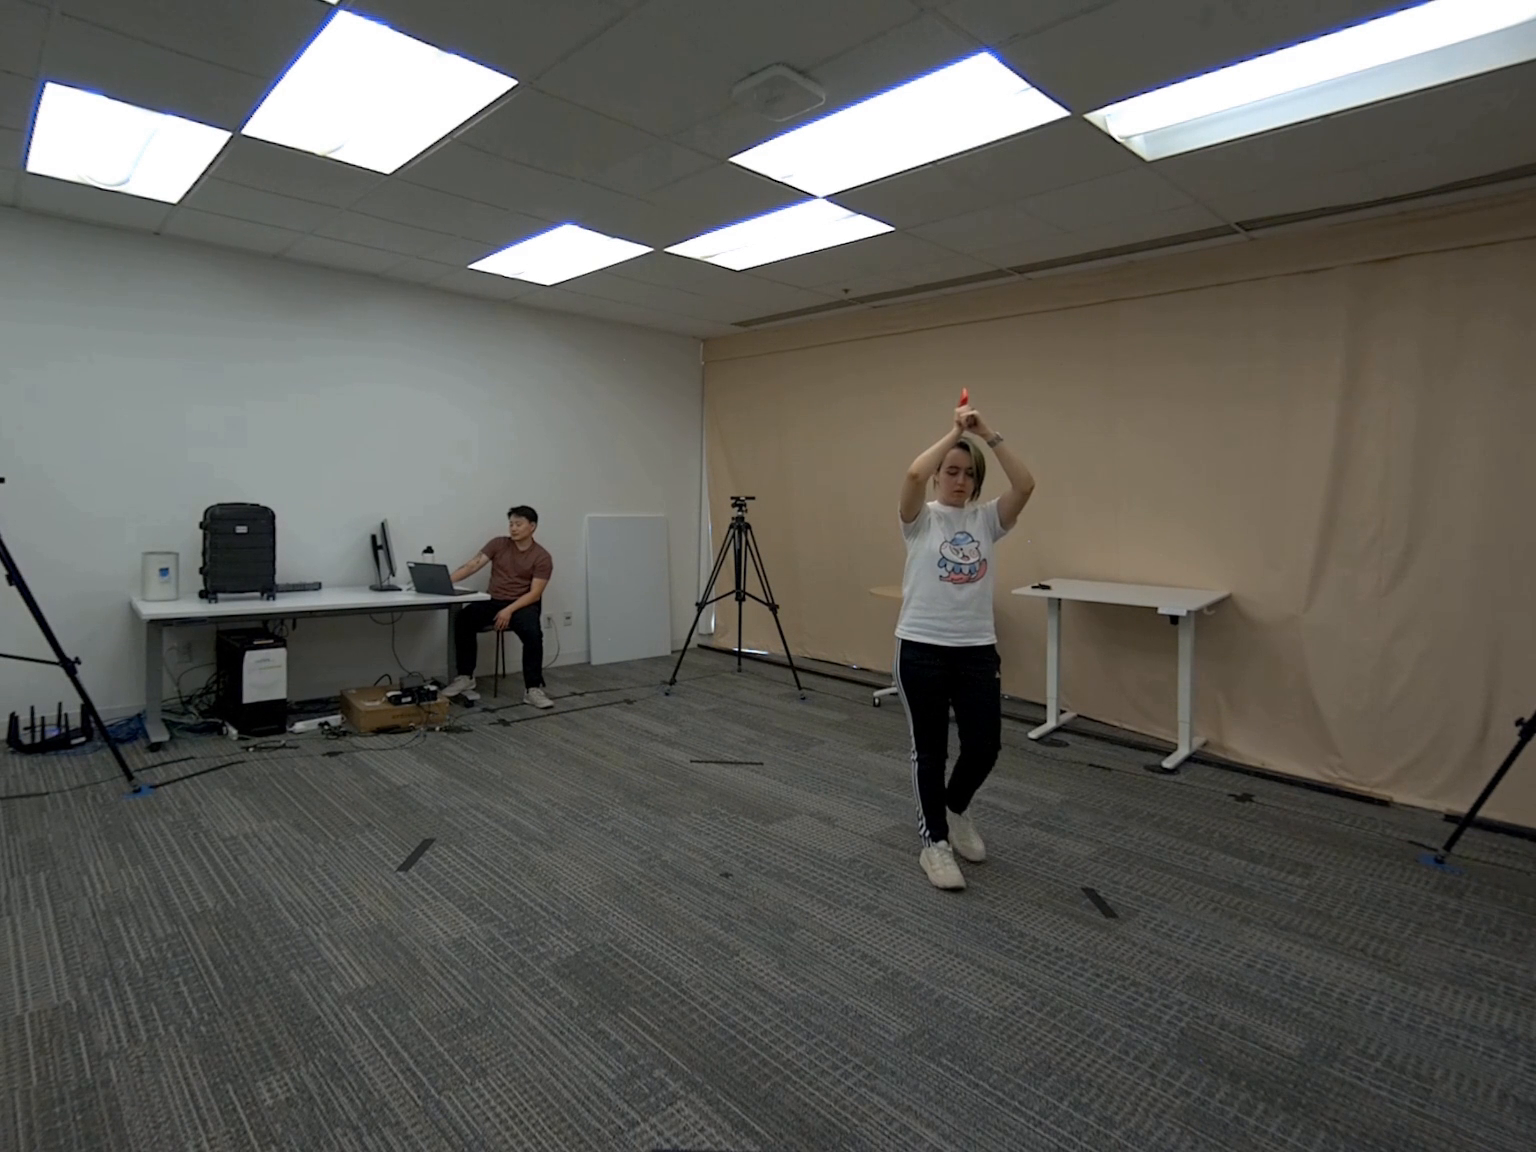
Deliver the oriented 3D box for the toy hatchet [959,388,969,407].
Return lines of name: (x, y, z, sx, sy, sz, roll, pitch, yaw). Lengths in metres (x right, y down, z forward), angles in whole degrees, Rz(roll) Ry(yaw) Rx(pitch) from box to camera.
toy hatchet: (0.710, -0.608, 2.983, 0.030, 0.130, 0.270, 5, 10, 4)
